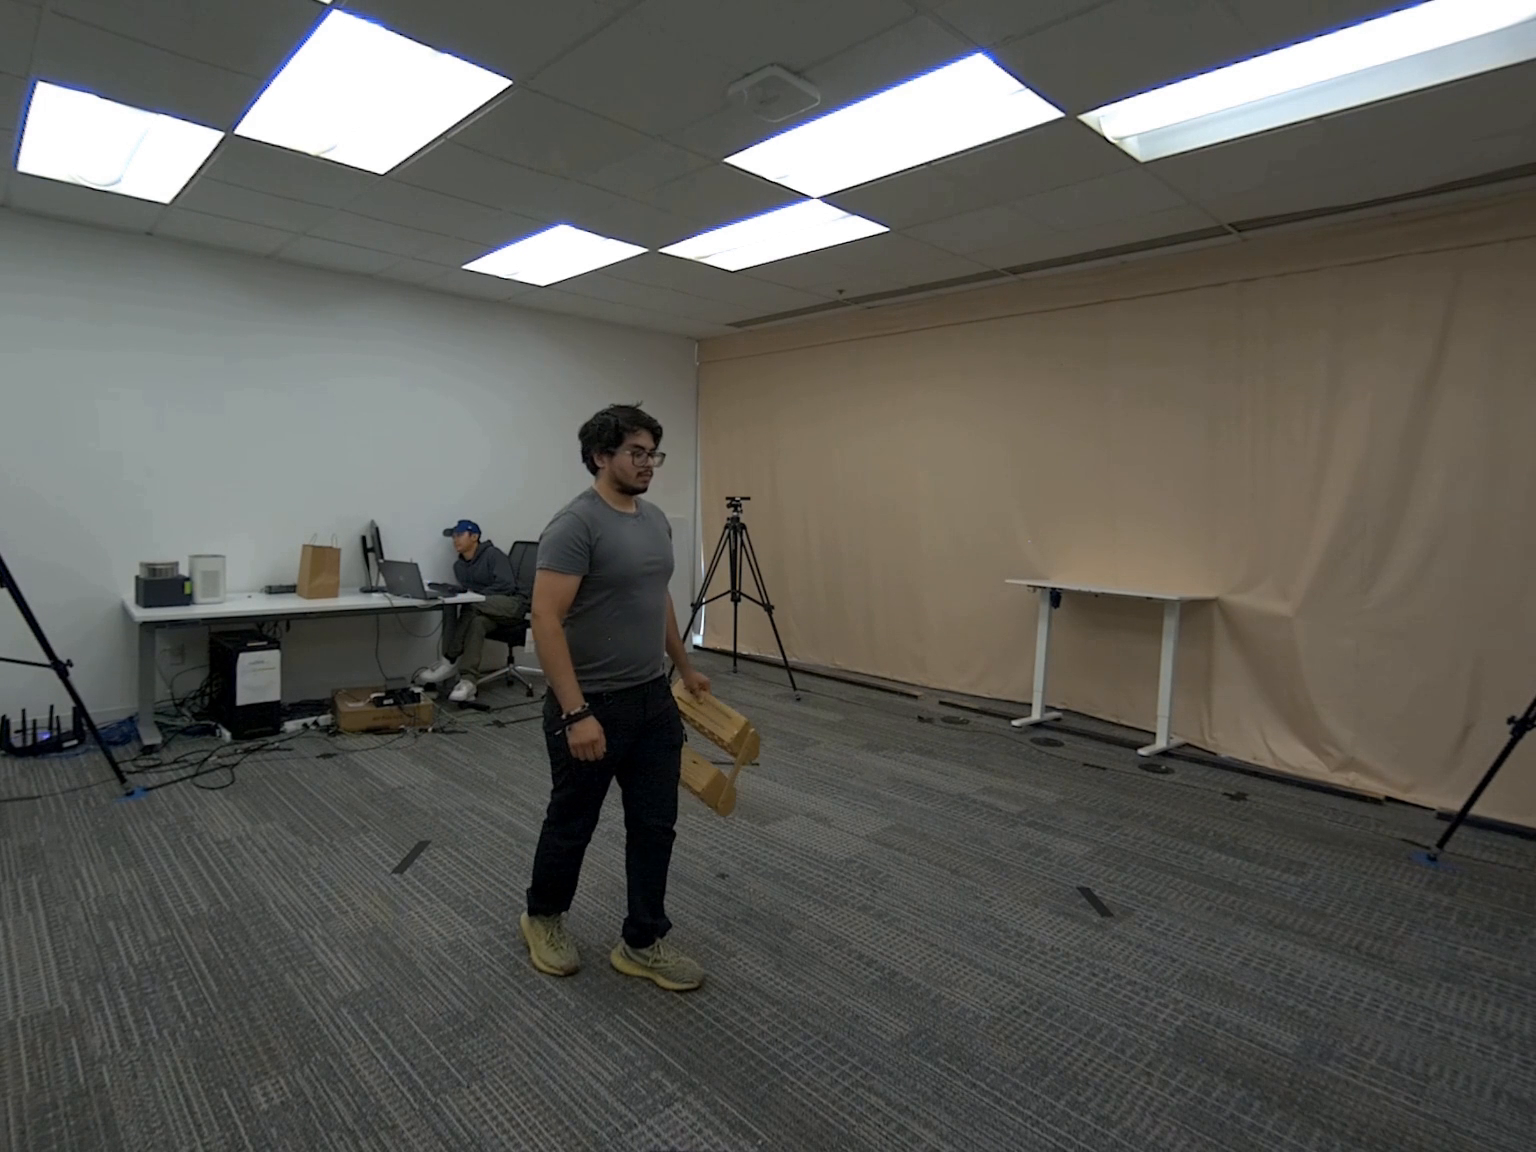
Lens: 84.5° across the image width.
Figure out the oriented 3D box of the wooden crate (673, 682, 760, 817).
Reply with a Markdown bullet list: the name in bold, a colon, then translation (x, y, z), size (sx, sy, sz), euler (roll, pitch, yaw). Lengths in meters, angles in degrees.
- **wooden crate**: translation (-0.209, 0.554, 2.741), size (0.334, 0.273, 0.293), euler (27, -21, 33)
